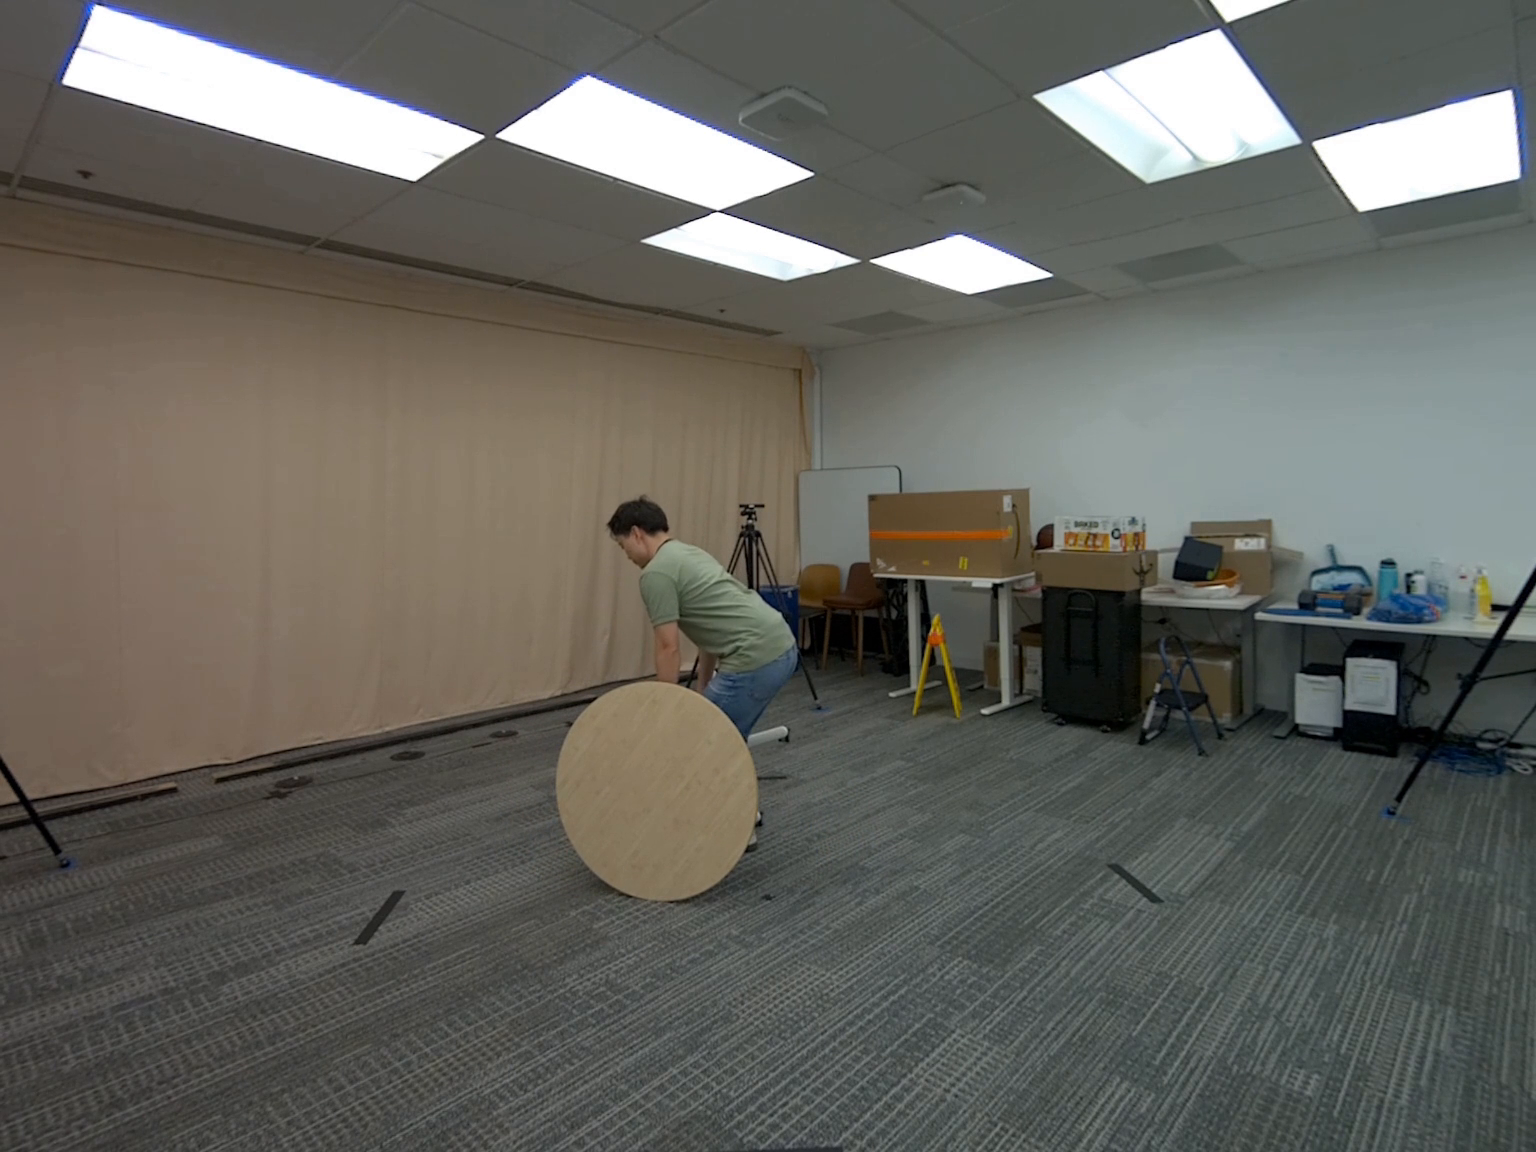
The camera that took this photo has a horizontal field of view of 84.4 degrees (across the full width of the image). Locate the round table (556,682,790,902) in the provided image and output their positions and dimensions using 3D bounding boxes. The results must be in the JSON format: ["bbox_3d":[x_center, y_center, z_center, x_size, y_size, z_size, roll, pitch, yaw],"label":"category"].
[{"bbox_3d":[-0.327,0.766,3.378,0.777,0.765,0.780,0,-2,15],"label":"round table"}]
